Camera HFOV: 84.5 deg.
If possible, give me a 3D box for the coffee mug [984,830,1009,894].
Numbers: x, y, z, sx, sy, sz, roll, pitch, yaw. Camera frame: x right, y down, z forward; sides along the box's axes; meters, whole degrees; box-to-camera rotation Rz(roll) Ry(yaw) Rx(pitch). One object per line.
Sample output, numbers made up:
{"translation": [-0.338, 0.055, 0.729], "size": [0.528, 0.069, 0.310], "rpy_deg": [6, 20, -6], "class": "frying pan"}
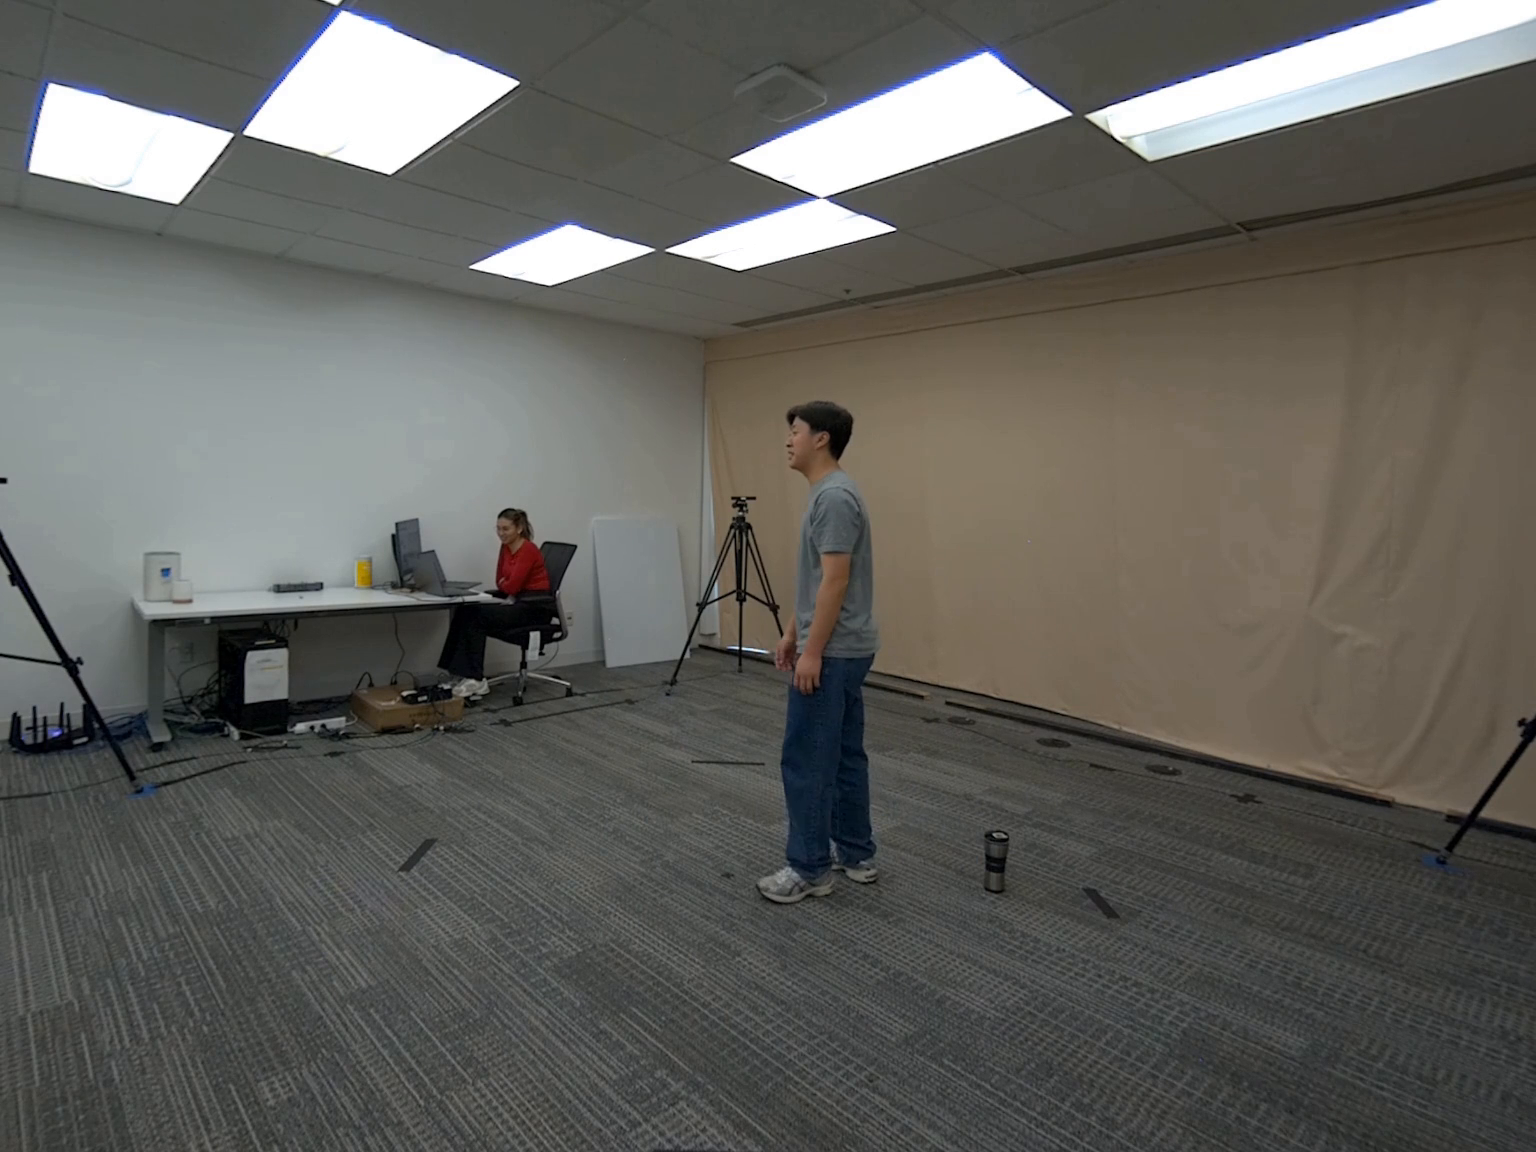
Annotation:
{"translation": [0.828, 1.033, 3.061], "size": [0.090, 0.202, 0.119], "rpy_deg": [2, 5, 33], "class": "coffee mug"}
